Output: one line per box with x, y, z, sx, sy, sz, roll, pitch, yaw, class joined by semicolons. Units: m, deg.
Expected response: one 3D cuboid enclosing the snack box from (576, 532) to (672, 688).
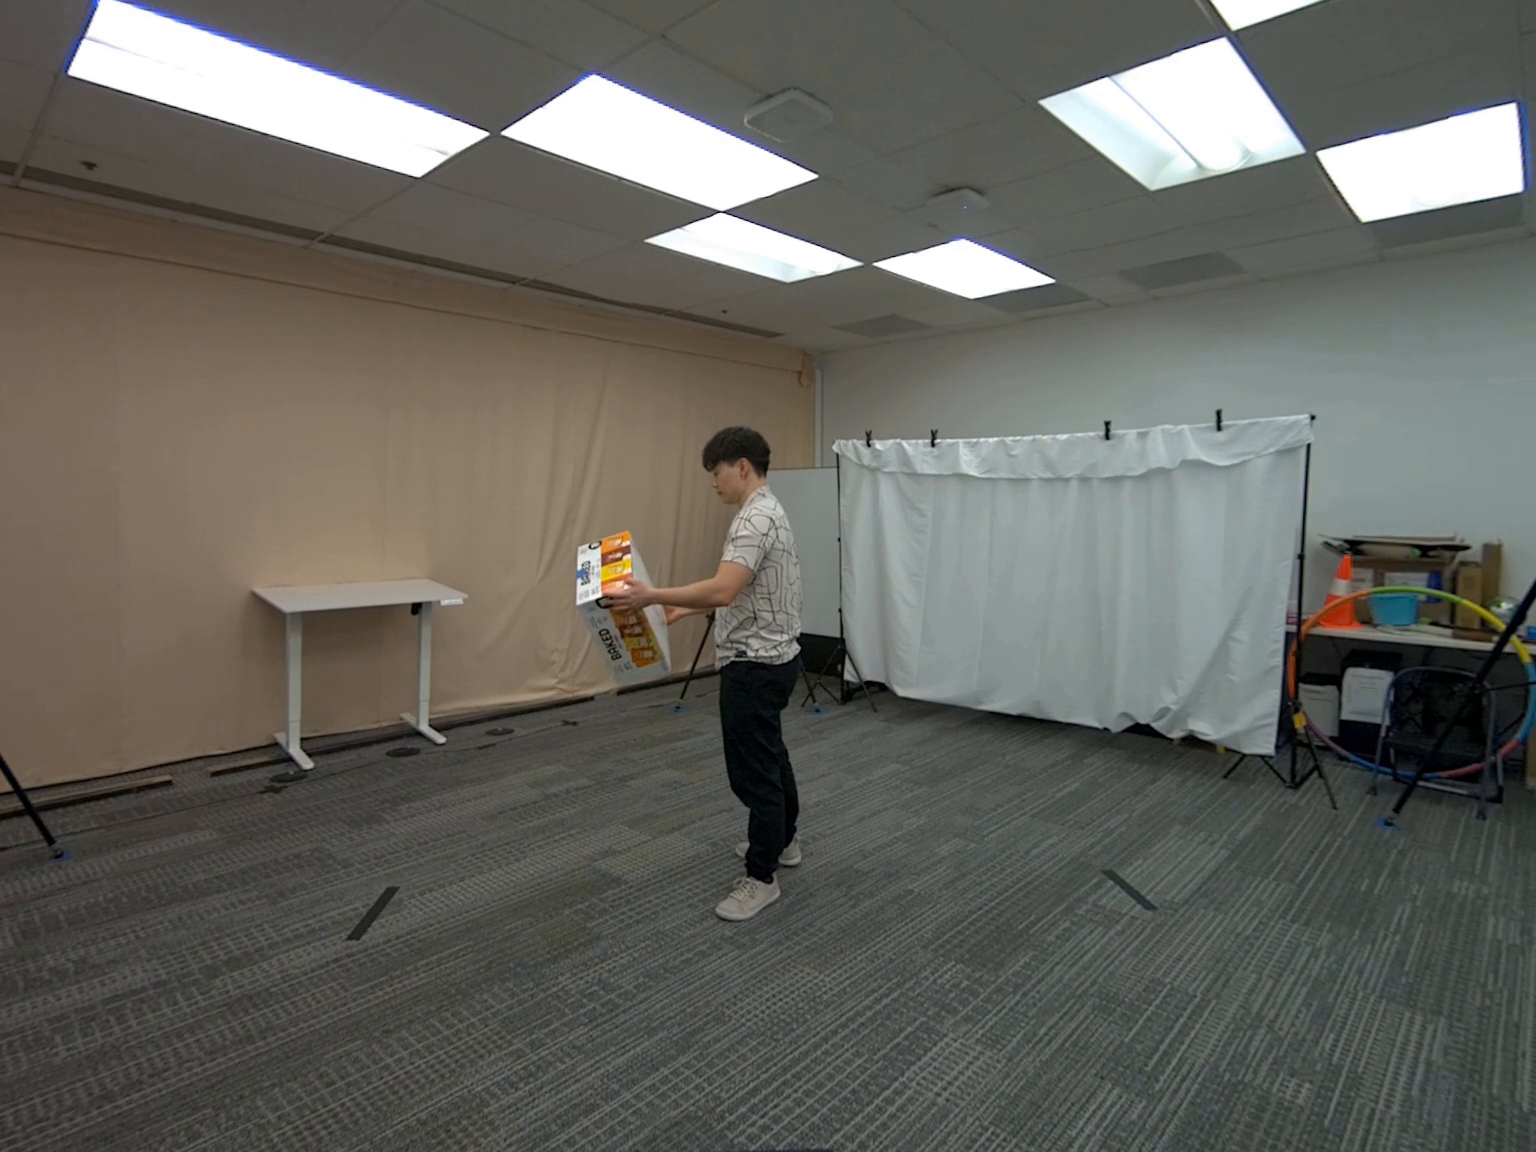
-0.515;0.120;3.038;0.206;0.394;0.348;-17;36;3;snack box
